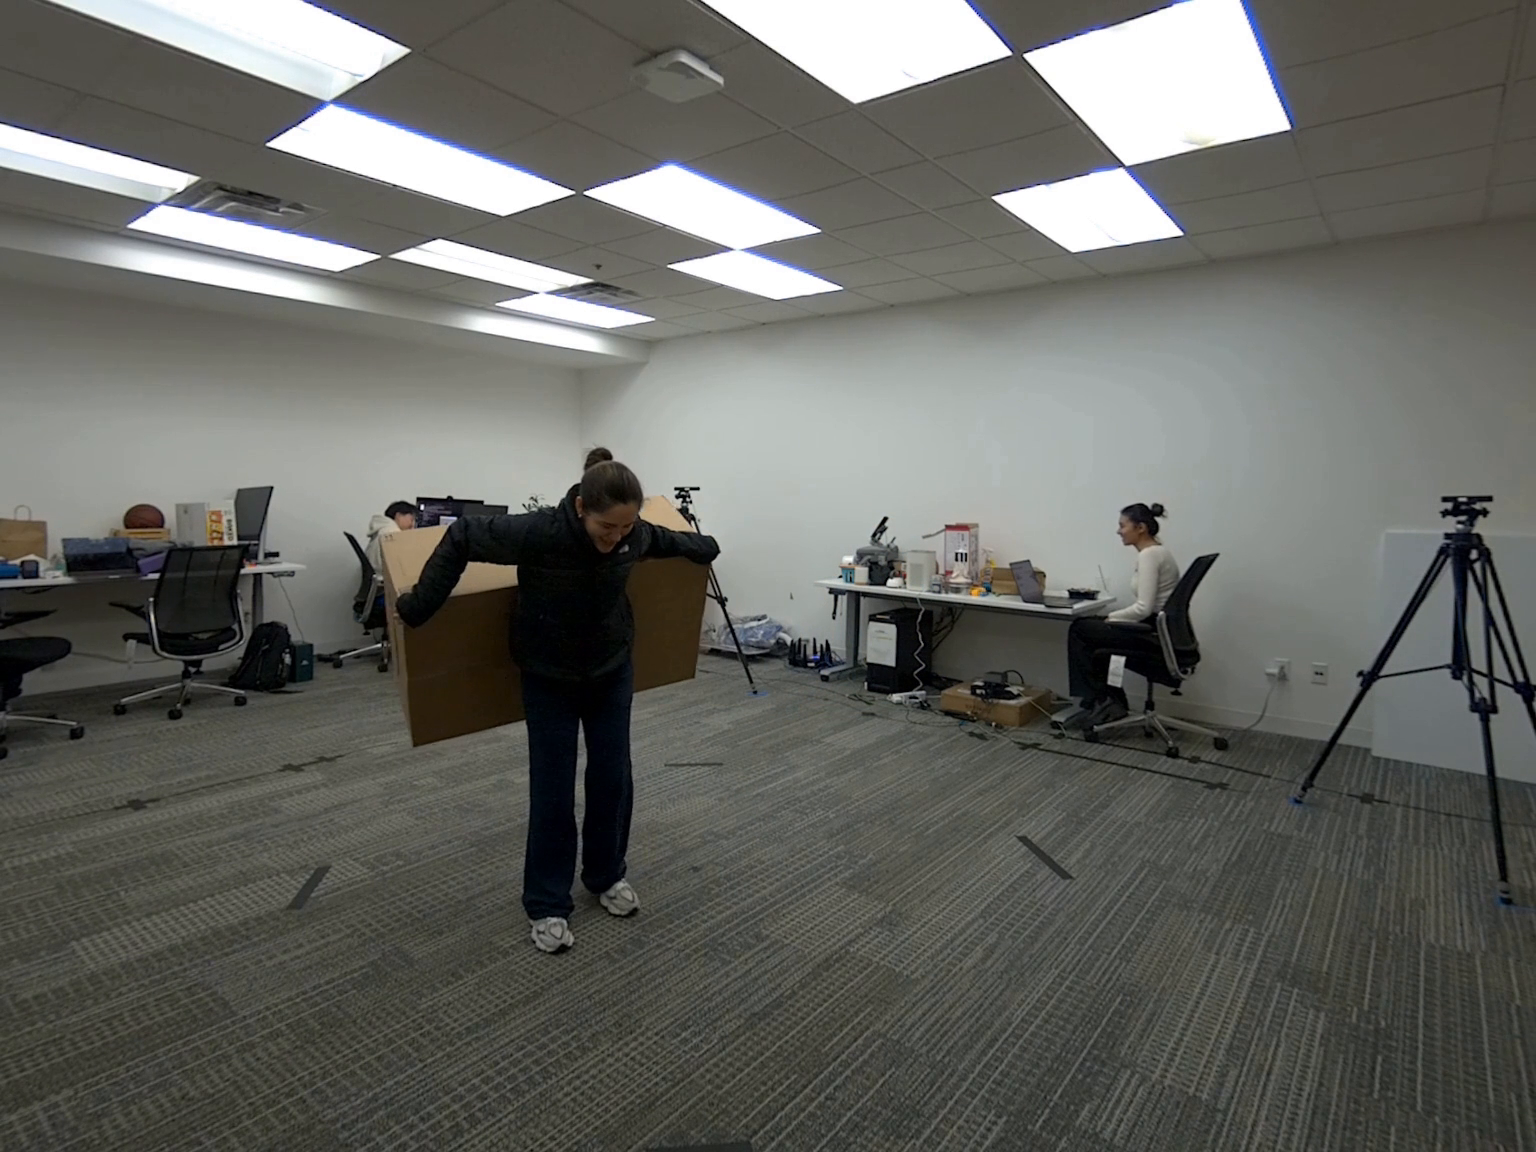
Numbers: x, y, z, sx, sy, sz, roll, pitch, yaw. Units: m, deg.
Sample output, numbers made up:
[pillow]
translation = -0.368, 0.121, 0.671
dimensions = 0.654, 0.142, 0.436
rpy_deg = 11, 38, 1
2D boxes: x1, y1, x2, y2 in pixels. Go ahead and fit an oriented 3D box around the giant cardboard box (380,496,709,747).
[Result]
[giant cardboard box]
translation = -0.765, 0.127, 3.017
dimensions = 1.005, 0.565, 0.444
rpy_deg = -11, 37, -26
